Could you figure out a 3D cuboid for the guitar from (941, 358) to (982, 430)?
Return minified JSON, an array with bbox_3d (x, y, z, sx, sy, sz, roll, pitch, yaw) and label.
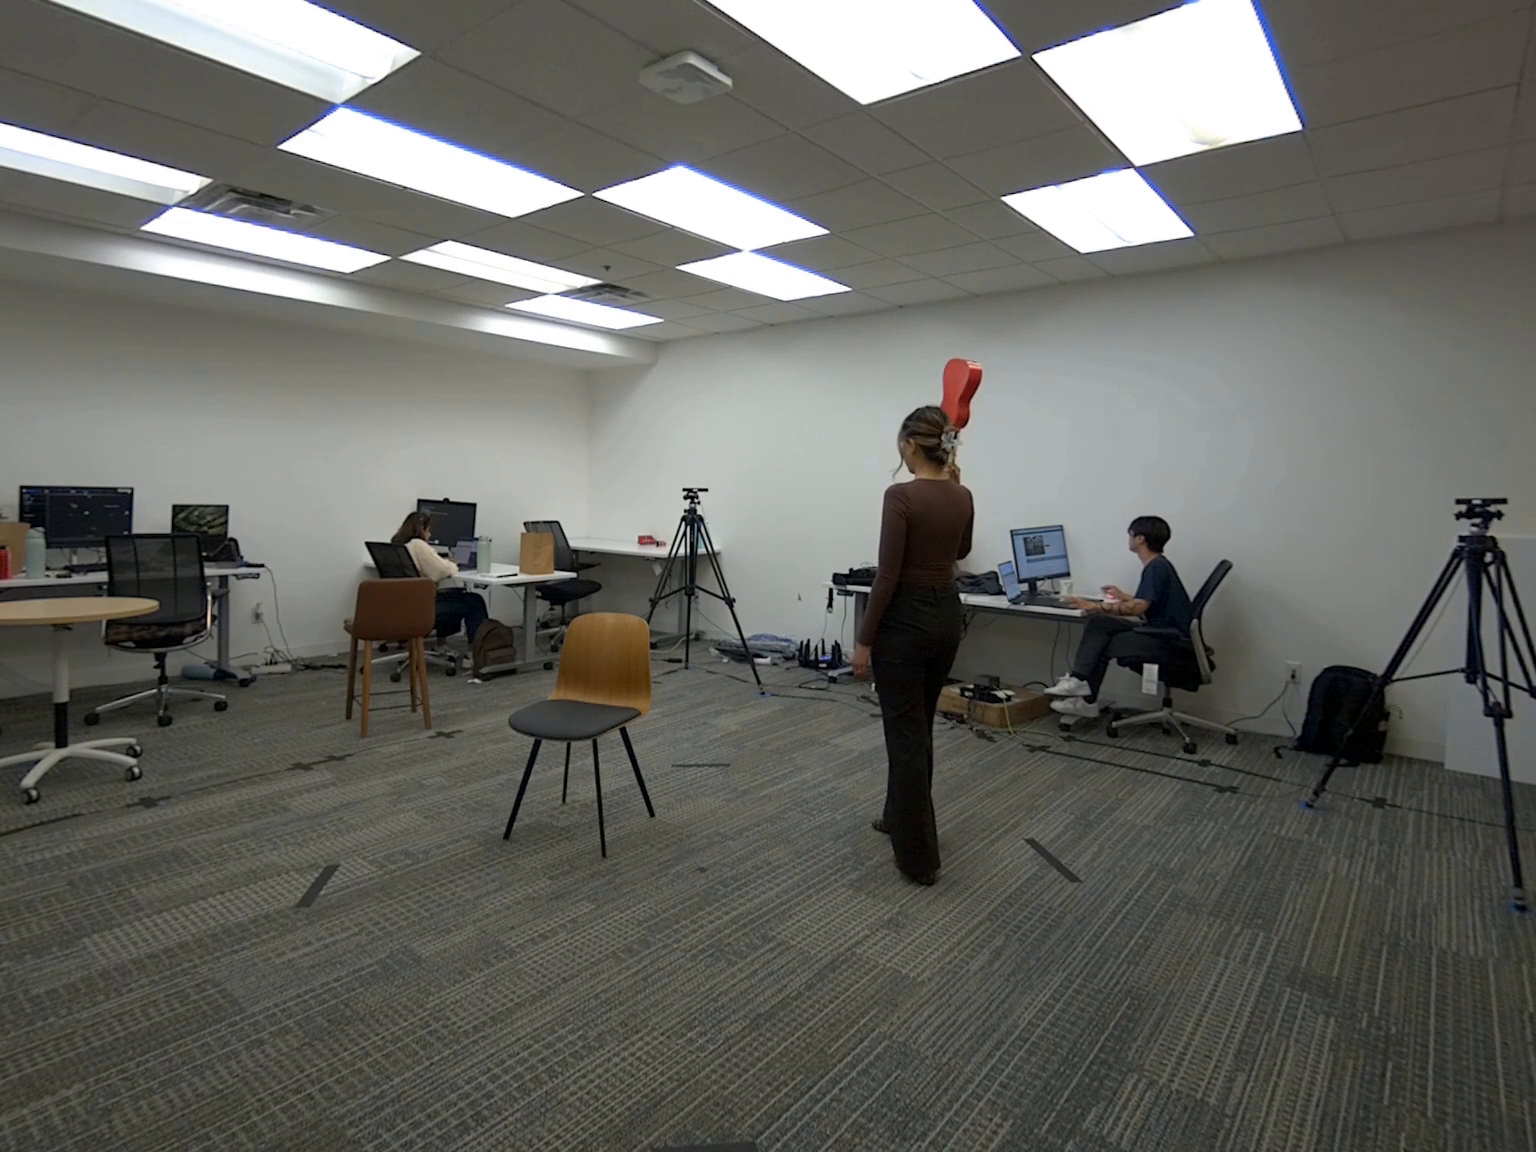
[{"bbox_3d":[0.732,-0.600,3.321,0.069,0.495,0.197,2,7,-17],"label":"guitar"}]
